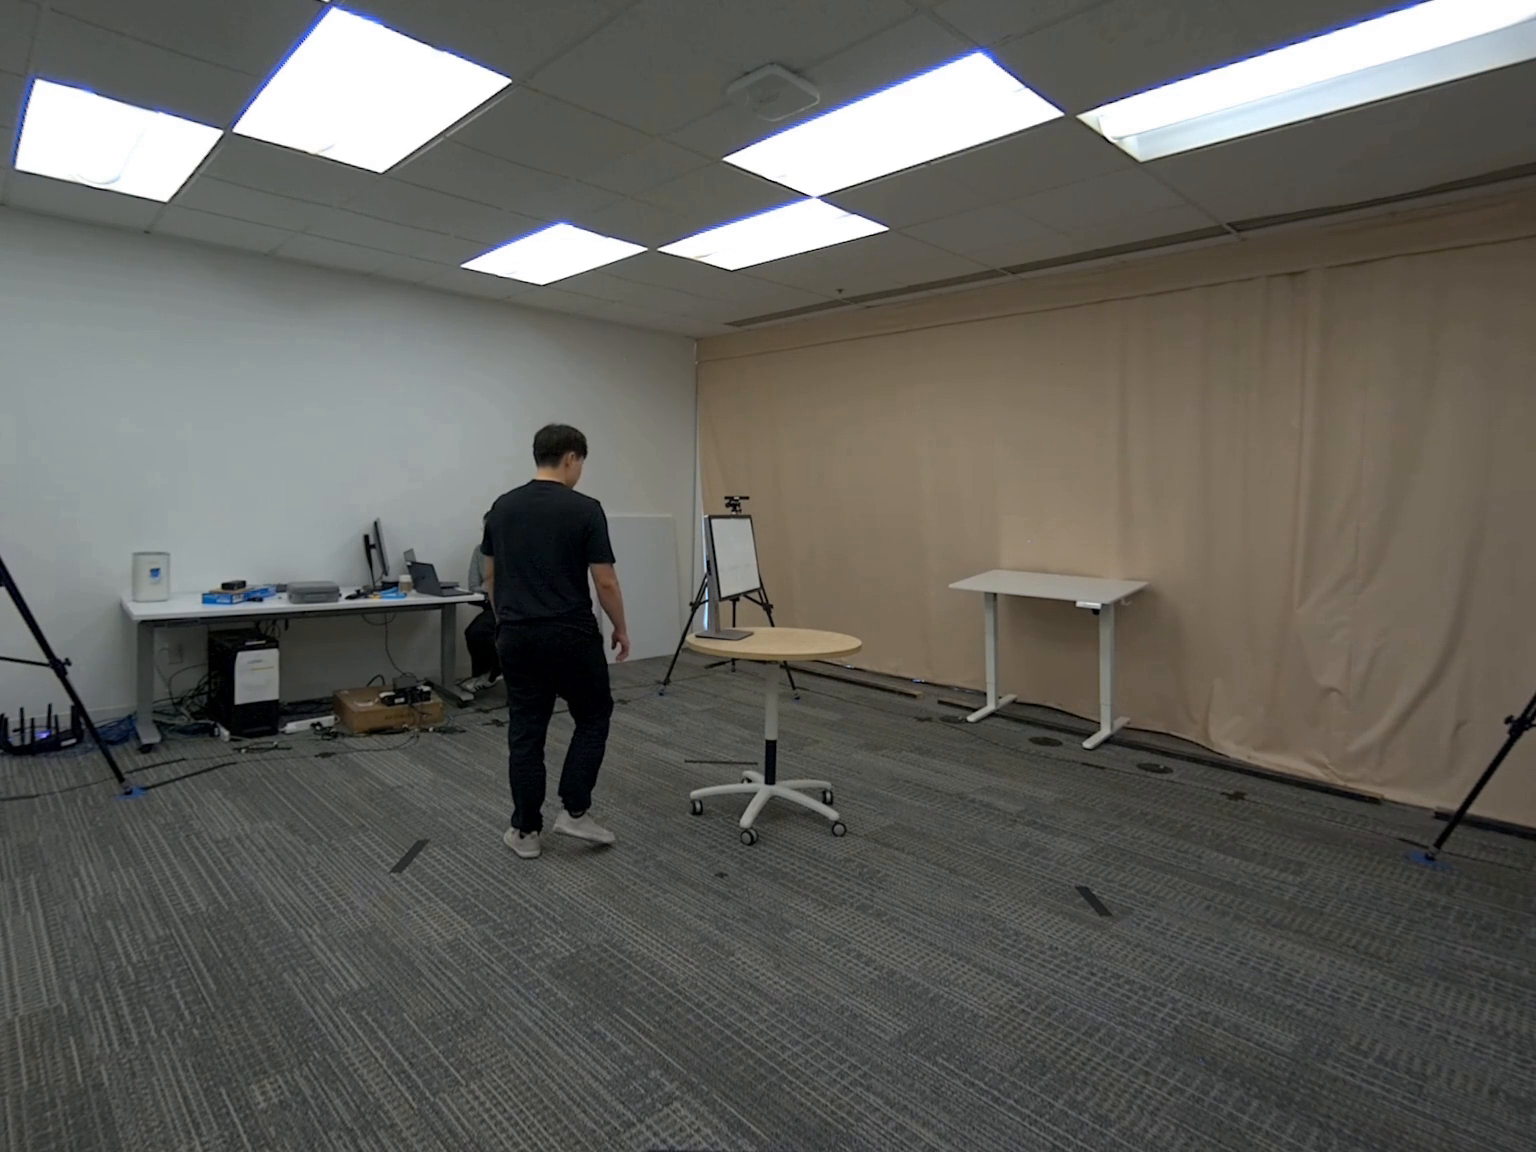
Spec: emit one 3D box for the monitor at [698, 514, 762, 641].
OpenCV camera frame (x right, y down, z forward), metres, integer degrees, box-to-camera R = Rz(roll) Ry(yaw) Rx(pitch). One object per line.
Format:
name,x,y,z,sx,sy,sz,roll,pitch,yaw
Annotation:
monitor,-0.196,0.002,3.752,0.190,0.521,0.533,4,3,15
